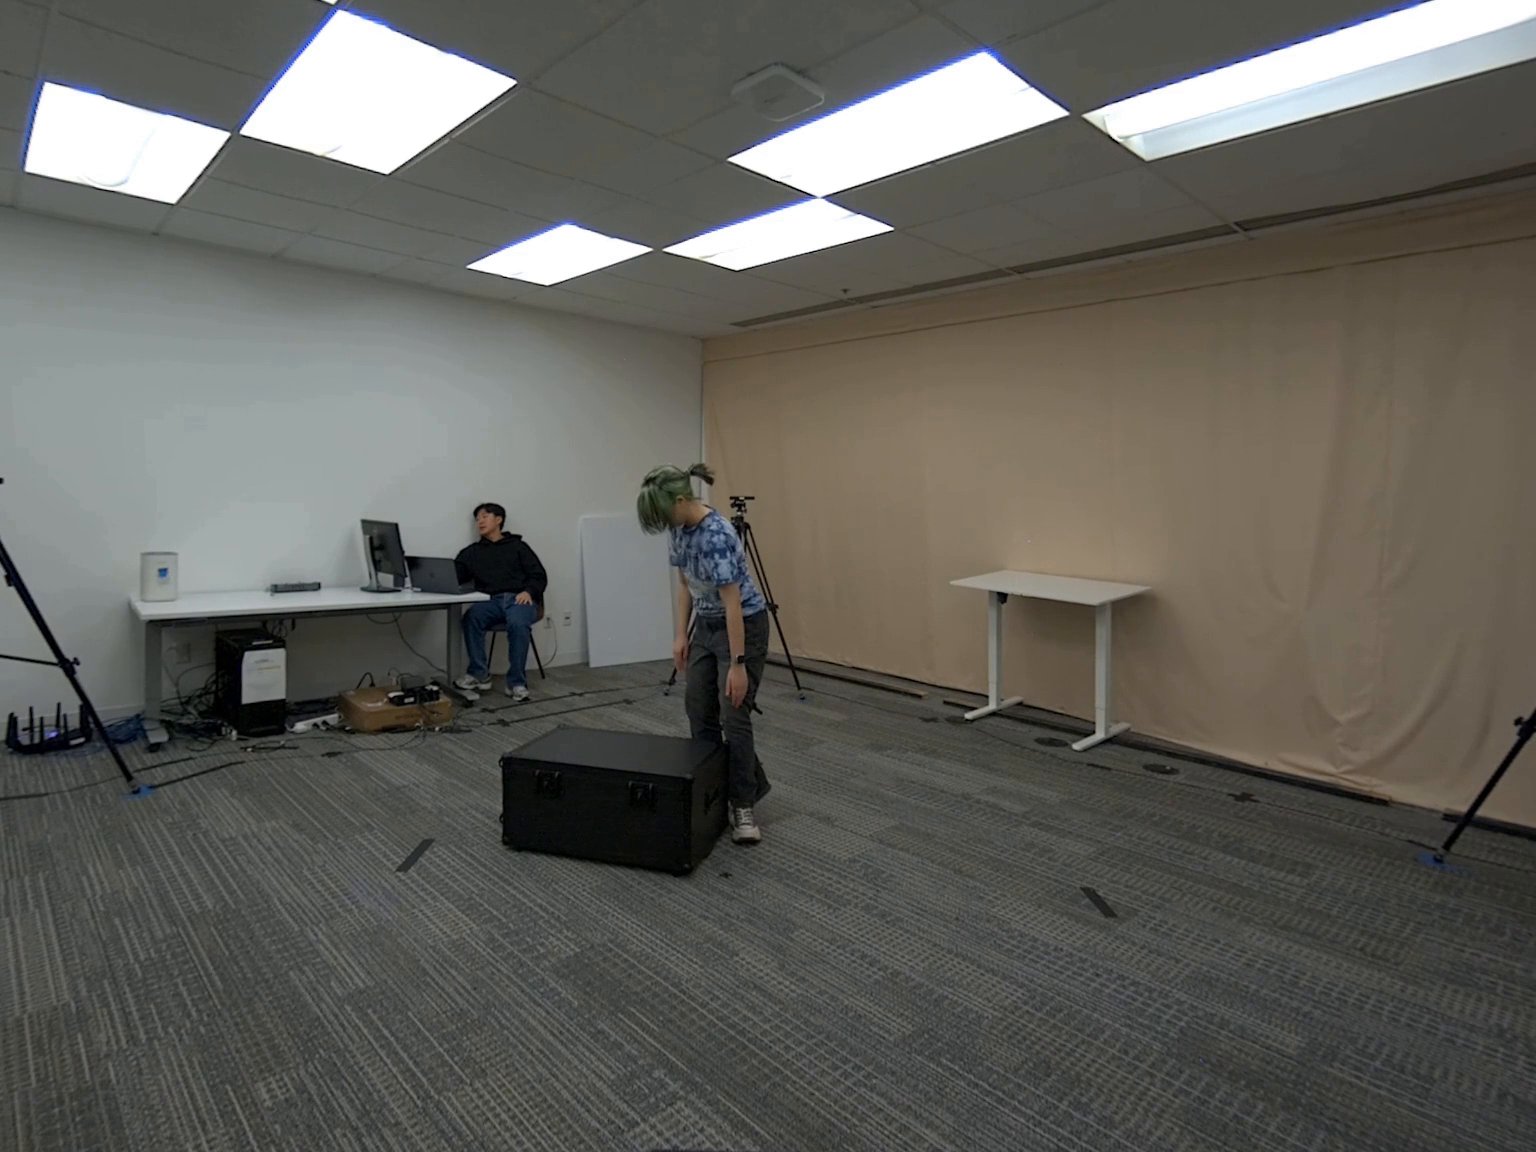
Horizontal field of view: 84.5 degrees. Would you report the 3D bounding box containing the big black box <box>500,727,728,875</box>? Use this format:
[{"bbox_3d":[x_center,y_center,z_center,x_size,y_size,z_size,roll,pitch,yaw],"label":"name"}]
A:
[{"bbox_3d":[-0.640,0.873,3.384,0.873,0.395,0.516,3,5,15],"label":"big black box"}]
